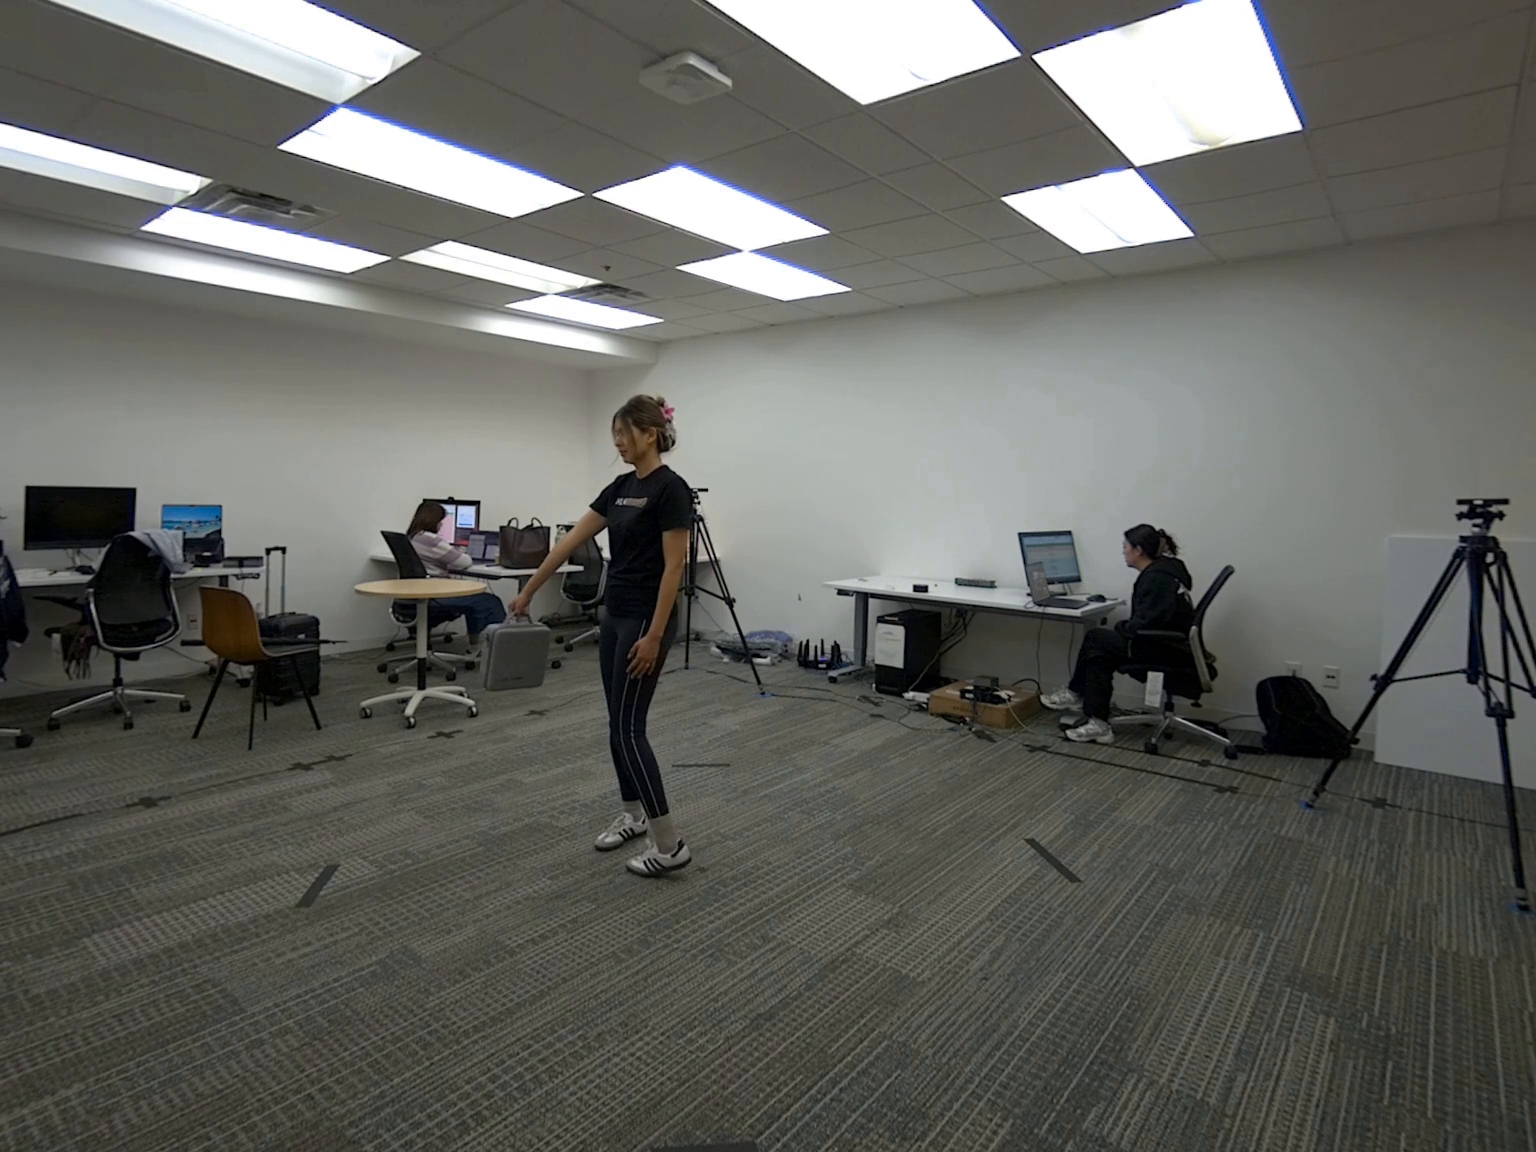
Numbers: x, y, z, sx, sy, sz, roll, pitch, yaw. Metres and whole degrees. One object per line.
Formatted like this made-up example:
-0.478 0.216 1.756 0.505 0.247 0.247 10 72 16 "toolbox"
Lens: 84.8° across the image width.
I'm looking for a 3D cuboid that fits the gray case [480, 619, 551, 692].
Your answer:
-1.003 0.306 3.336 0.248 0.259 0.108 3 10 -44 "gray case"
